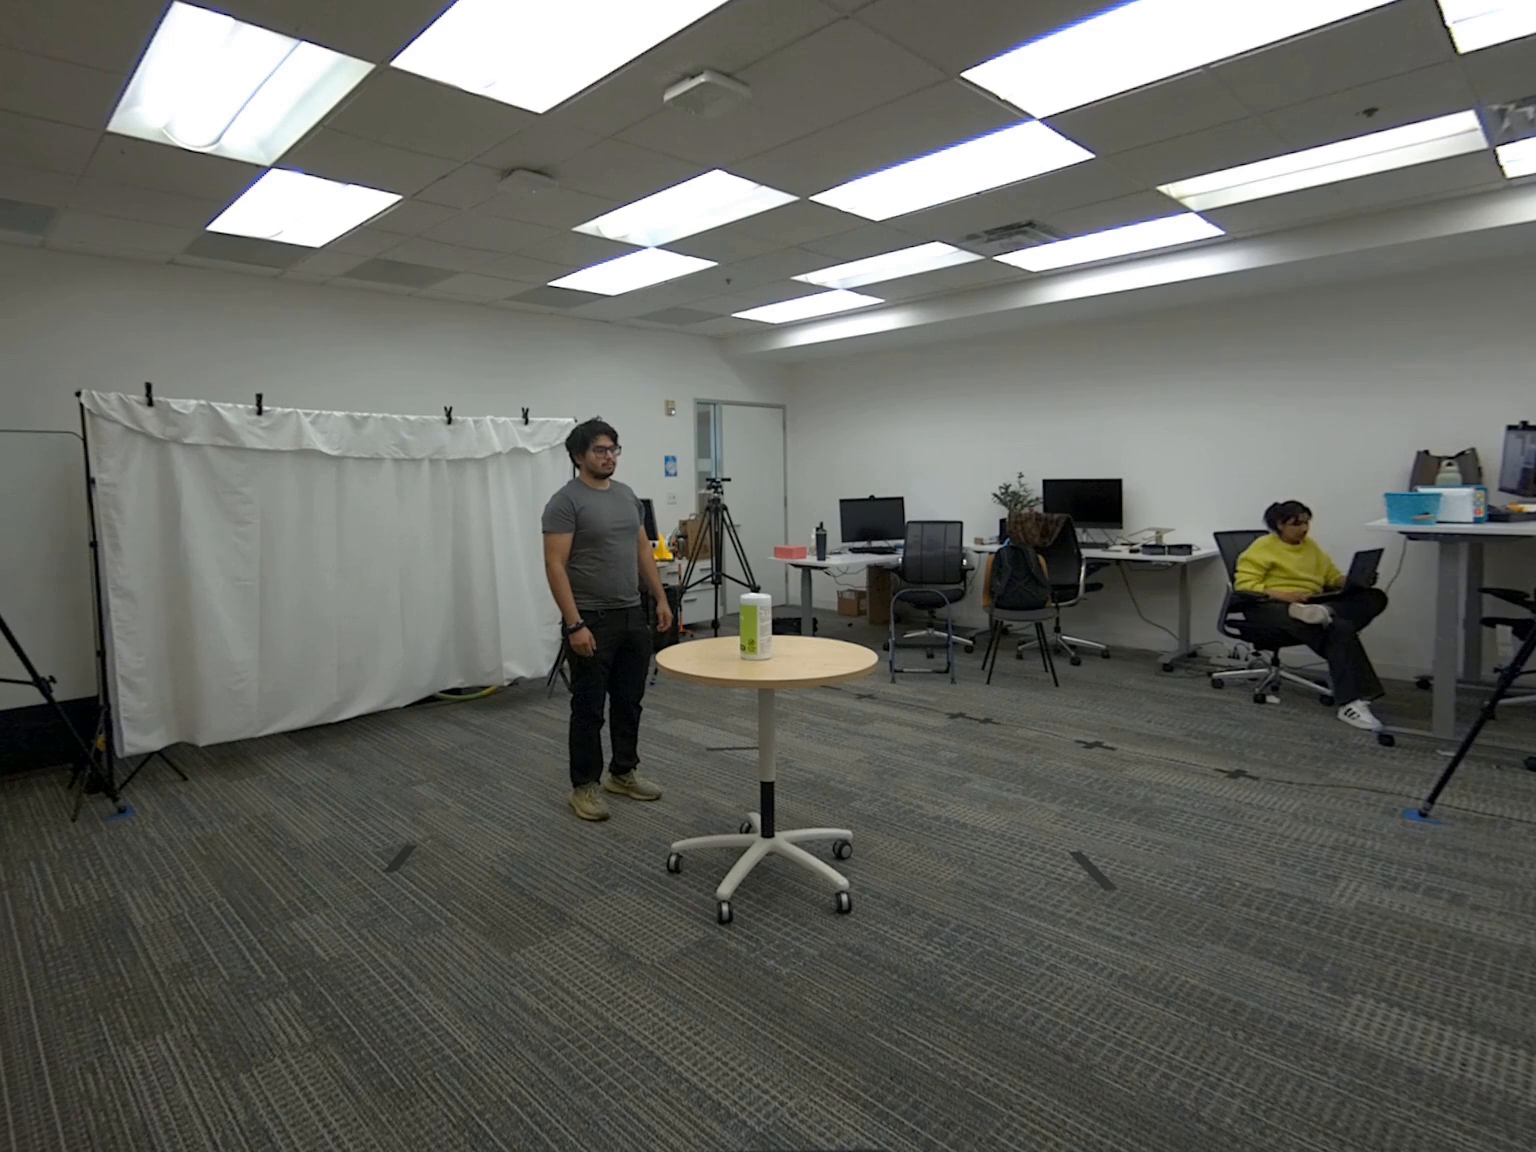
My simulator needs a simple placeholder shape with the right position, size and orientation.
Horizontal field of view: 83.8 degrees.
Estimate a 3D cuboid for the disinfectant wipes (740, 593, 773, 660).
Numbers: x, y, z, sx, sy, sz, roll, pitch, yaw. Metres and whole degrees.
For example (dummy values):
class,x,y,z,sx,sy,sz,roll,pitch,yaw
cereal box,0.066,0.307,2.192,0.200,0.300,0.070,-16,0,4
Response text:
class,x,y,z,sx,sy,sz,roll,pitch,yaw
disinfectant wipes,-0.035,0.172,2.918,0.118,0.217,0.118,-1,3,-2
